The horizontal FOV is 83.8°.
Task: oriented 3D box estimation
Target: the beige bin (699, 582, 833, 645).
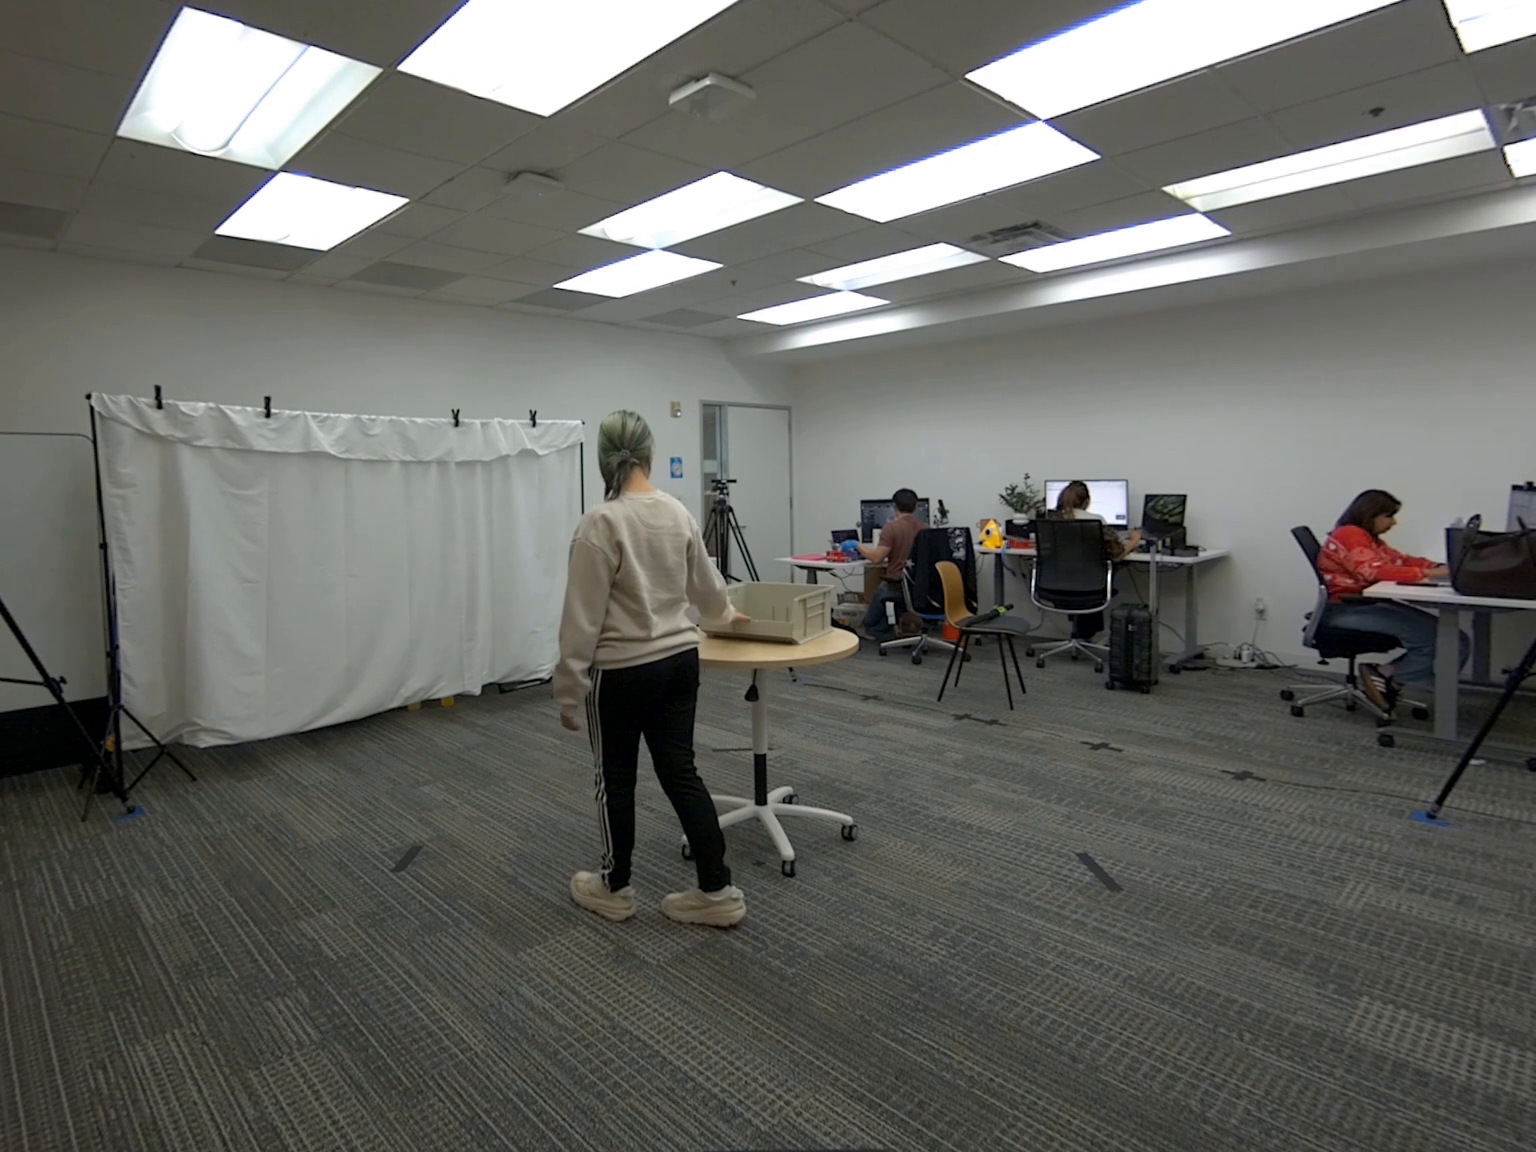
[{"bbox_3d":[-0.001,0.142,3.366,0.433,0.188,0.369,2,6,29],"label":"beige bin"}]
